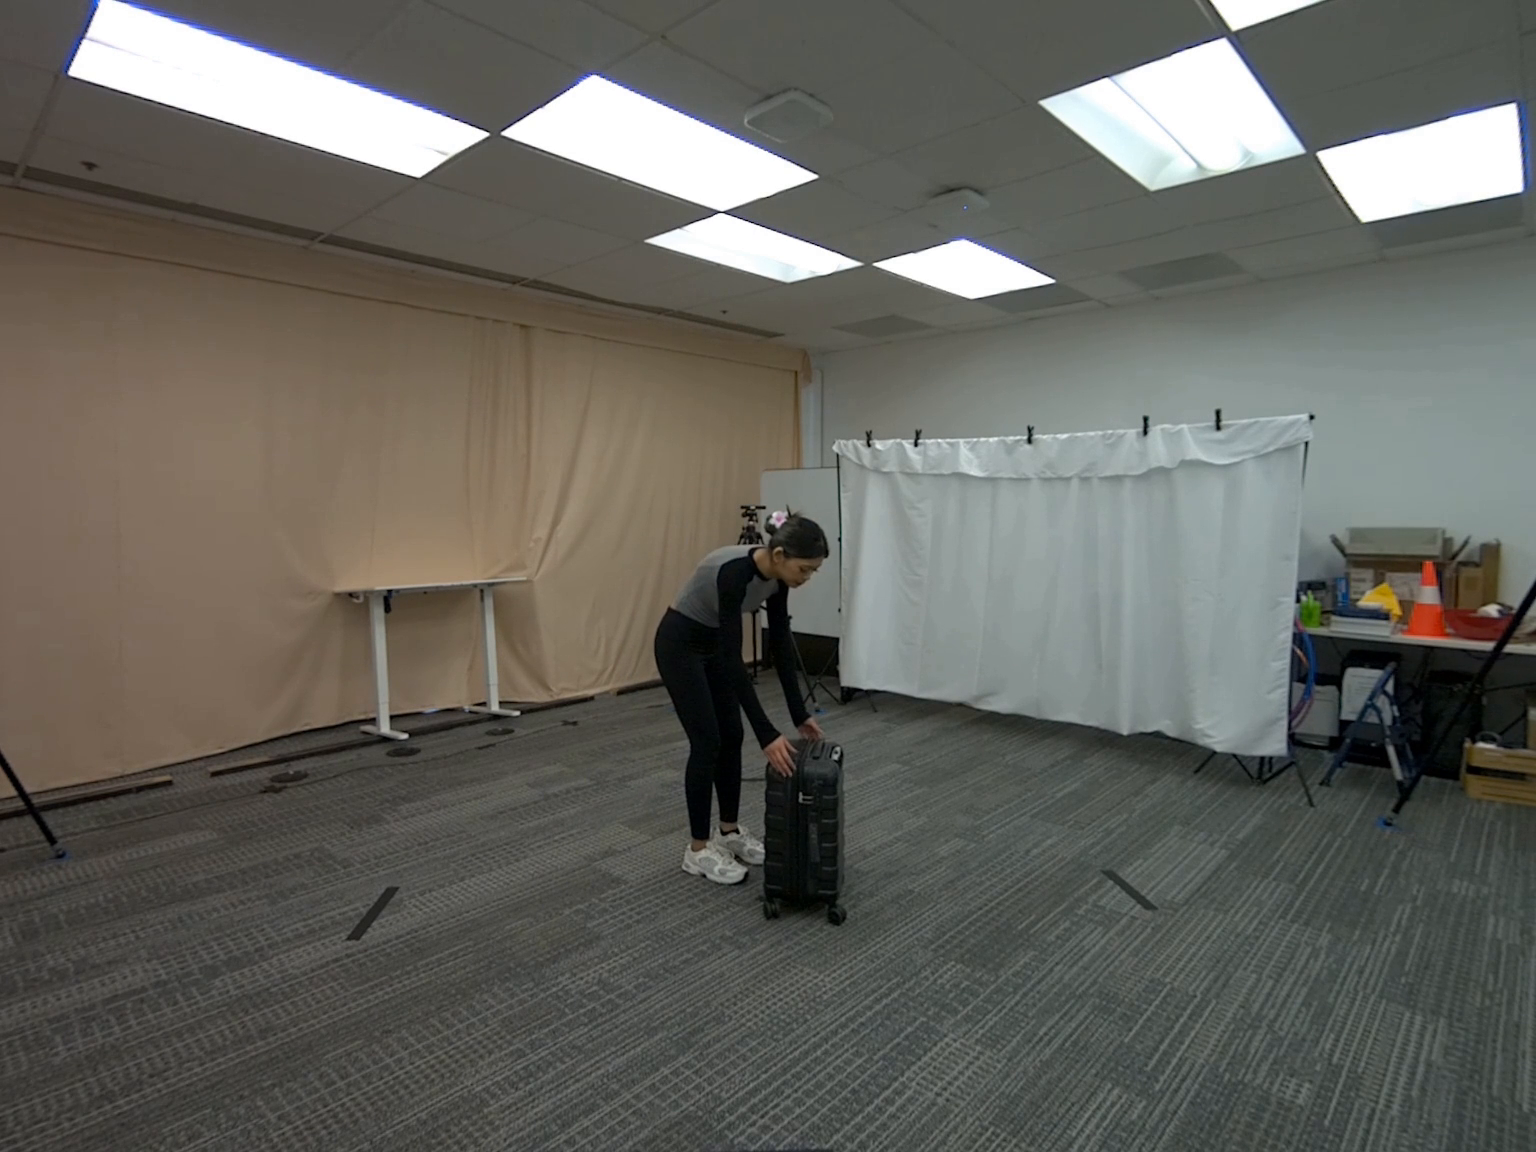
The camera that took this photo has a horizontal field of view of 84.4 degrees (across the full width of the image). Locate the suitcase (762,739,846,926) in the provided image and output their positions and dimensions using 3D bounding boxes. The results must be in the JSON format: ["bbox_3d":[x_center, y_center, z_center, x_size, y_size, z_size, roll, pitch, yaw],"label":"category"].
[{"bbox_3d":[0.137,0.868,2.965,0.252,0.548,0.371,0,3,11],"label":"suitcase"}]
